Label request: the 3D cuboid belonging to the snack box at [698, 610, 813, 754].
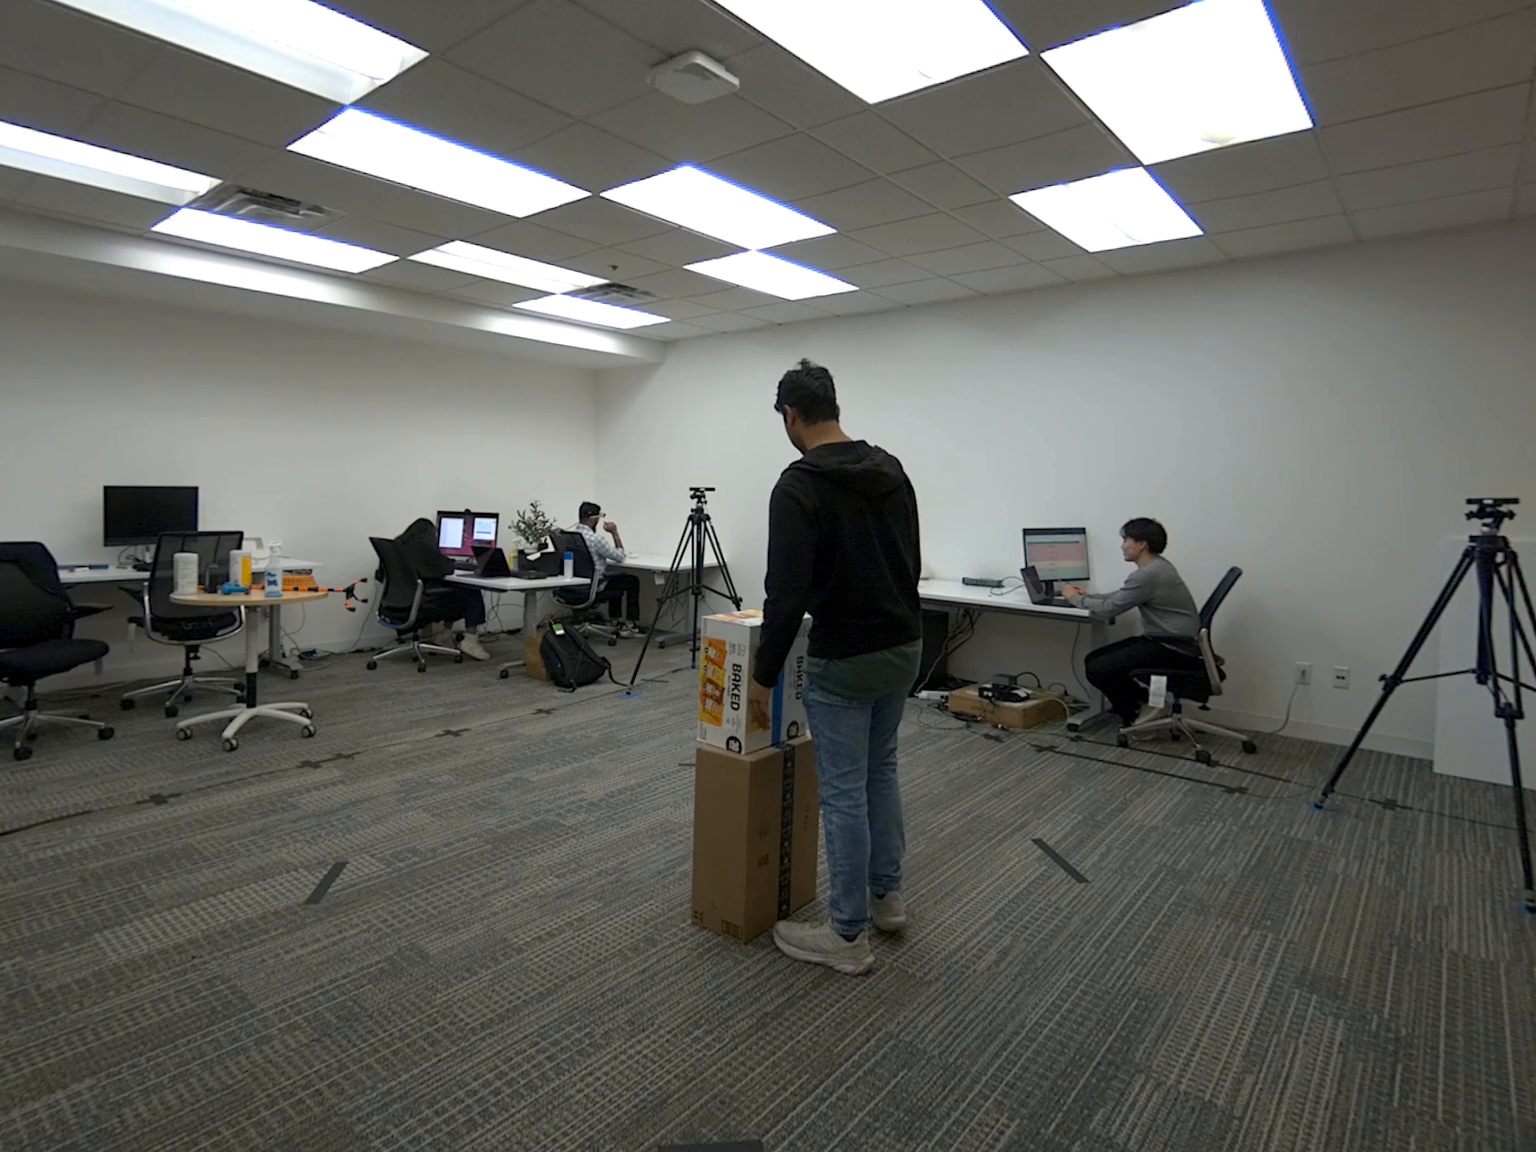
[{"bbox_3d":[-0.050,0.328,2.803,0.213,0.404,0.330,6,6,38],"label":"snack box"}]
